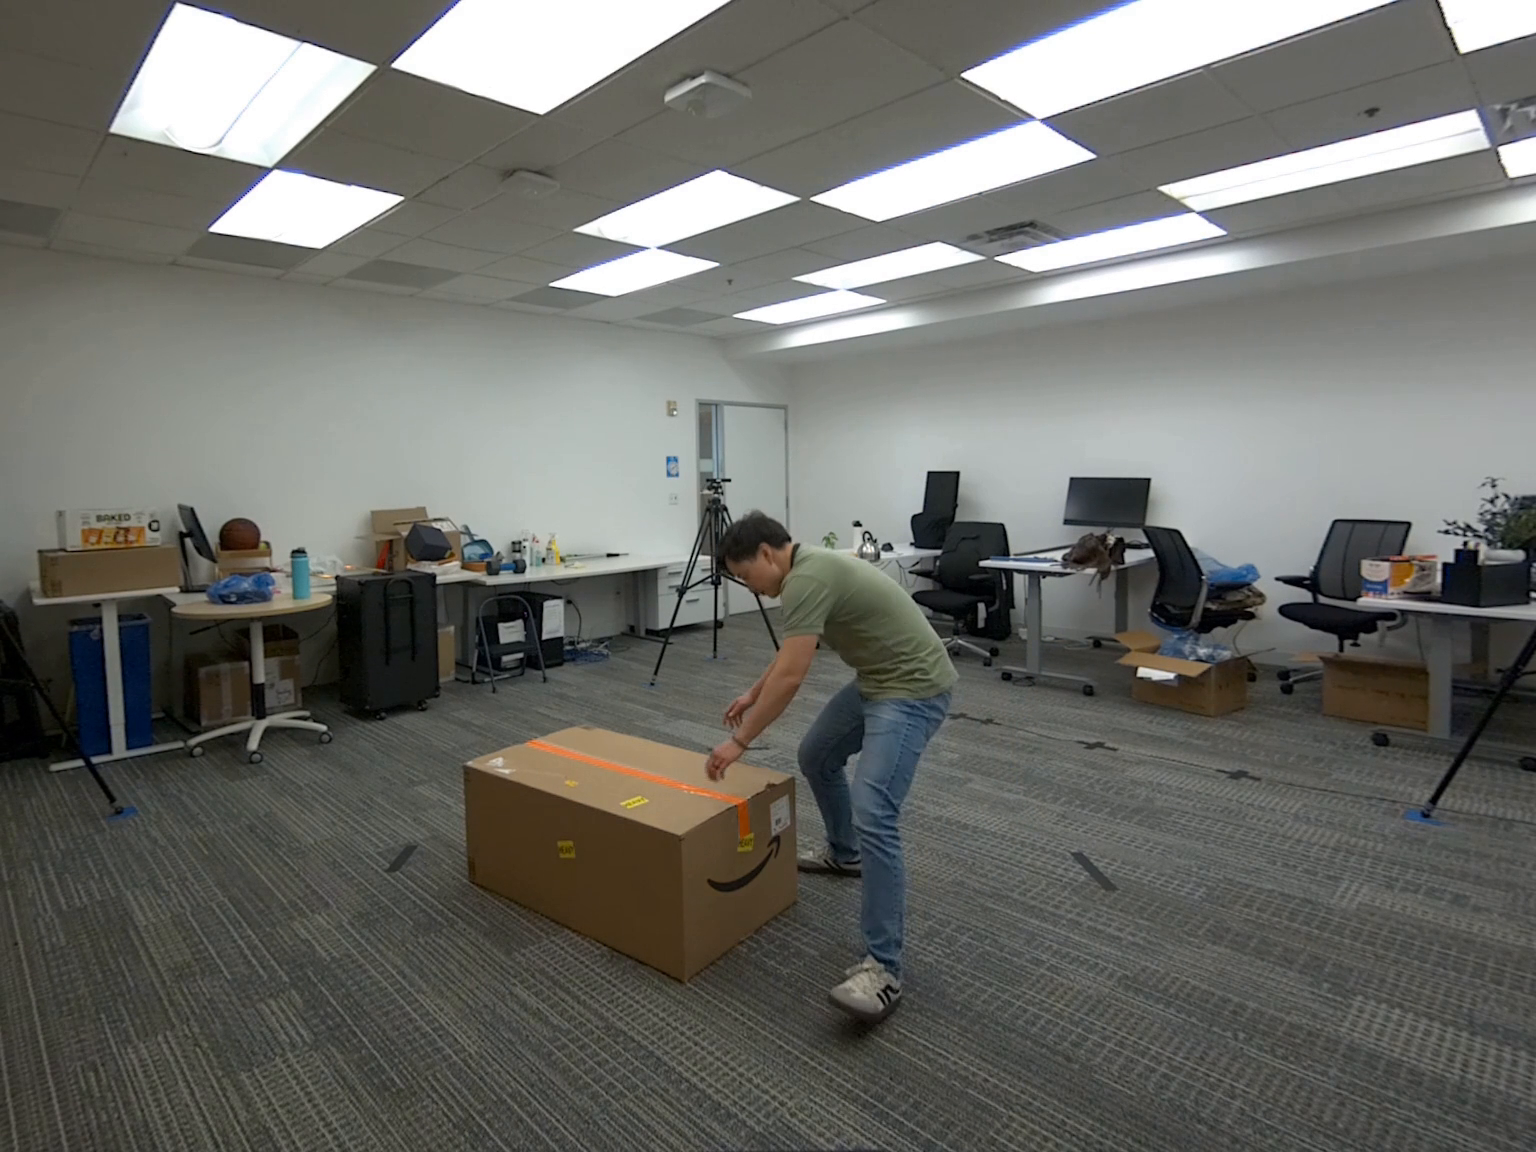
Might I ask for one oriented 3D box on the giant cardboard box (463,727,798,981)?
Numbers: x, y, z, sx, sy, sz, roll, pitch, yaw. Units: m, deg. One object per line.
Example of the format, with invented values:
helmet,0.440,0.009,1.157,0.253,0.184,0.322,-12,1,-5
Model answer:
giant cardboard box,-0.483,0.861,2.906,1.057,0.424,0.563,4,8,38
